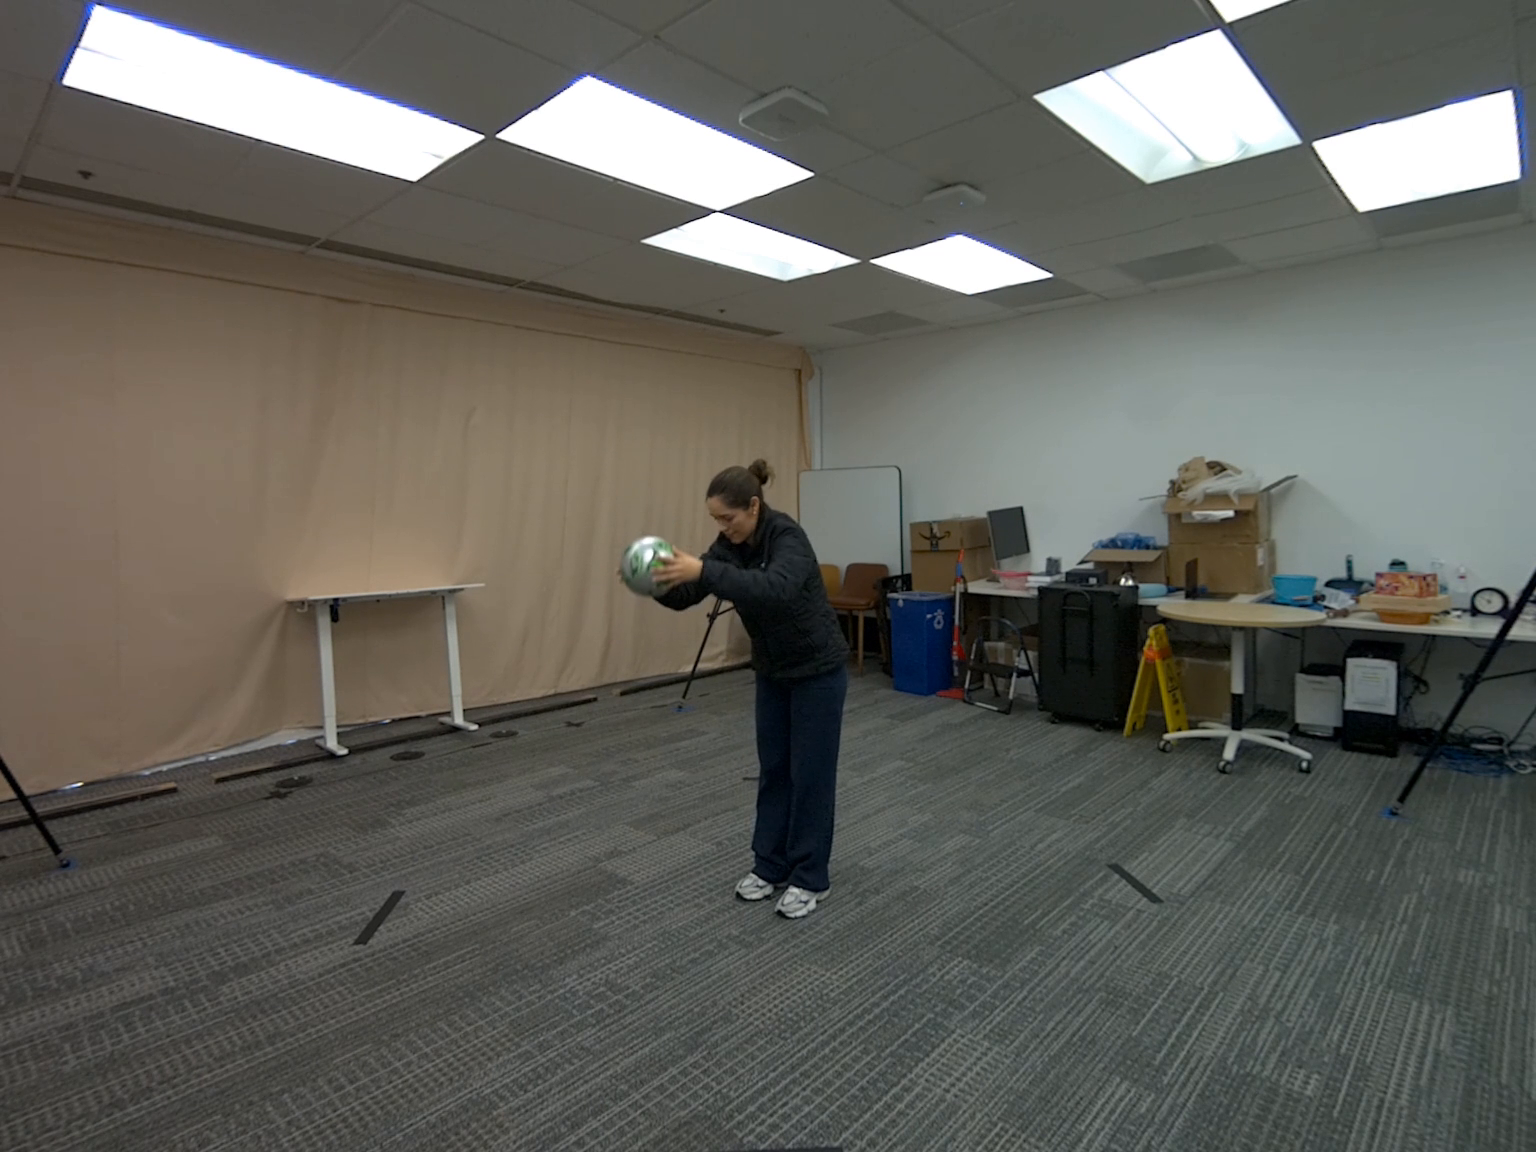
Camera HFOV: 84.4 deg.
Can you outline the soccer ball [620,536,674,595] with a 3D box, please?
[{"bbox_3d":[-0.343,-0.072,2.614,0.187,0.187,0.188,-1,4,-2],"label":"soccer ball"}]
